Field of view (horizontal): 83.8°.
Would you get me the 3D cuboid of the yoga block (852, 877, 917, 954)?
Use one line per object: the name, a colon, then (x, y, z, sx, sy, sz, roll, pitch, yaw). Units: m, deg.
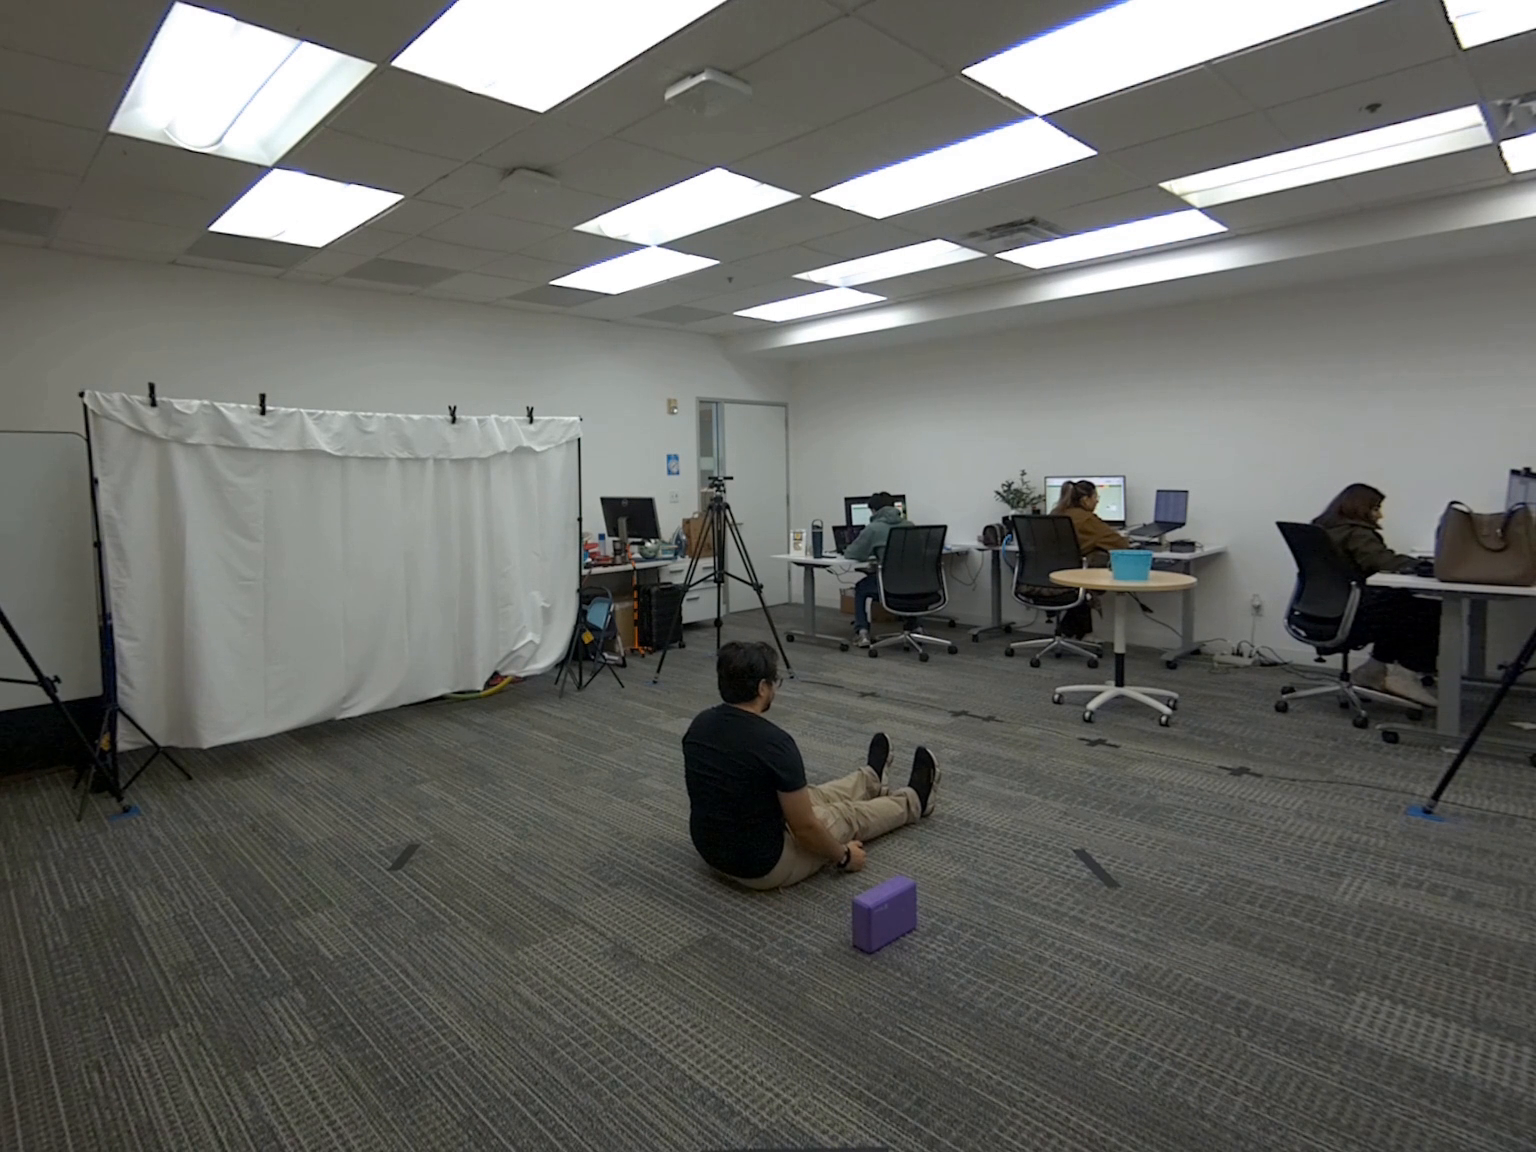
yoga block: (0.358, 1.016, 2.574, 0.223, 0.148, 0.079, -6, 6, -41)
